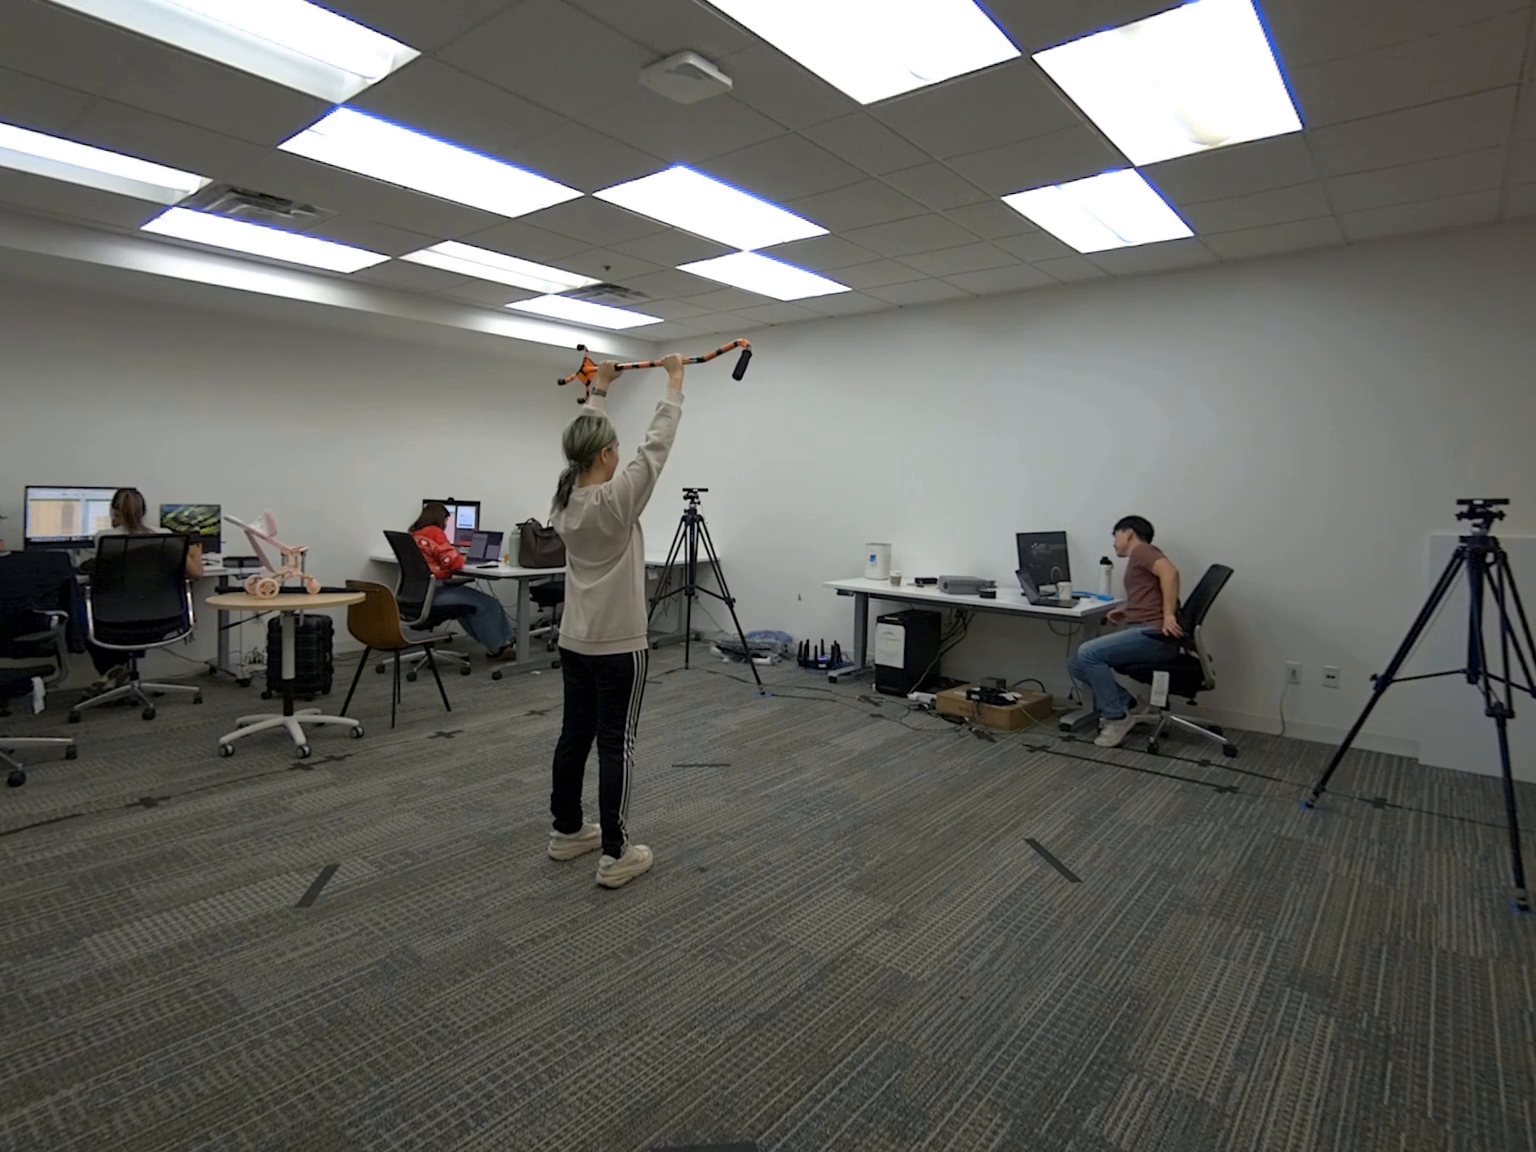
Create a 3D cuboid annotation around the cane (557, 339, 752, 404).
[{"bbox_3d":[-0.416,-0.785,3.182,0.939,0.208,0.145,7,-25,40],"label":"cane"}]
